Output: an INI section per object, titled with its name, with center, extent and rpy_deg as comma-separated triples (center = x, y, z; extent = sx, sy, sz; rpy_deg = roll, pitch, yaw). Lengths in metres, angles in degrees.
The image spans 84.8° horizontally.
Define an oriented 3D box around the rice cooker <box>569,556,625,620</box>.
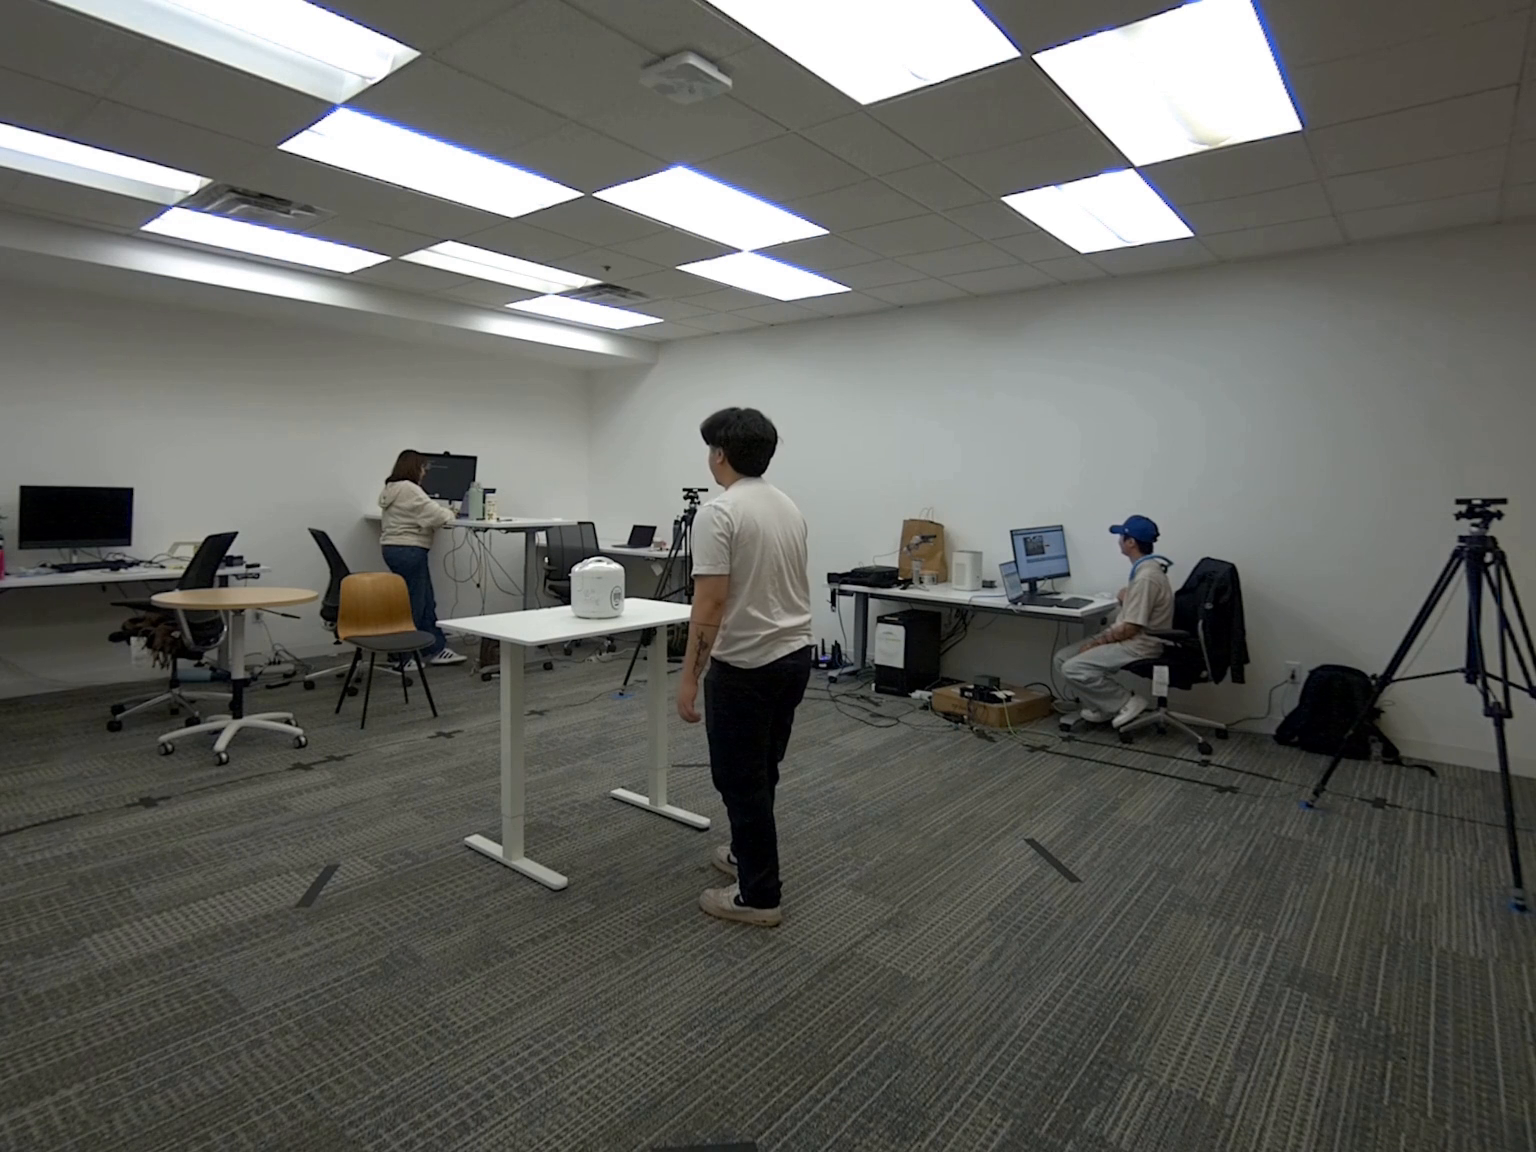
[rice cooker]
center = -0.679, 0.040, 3.349
extent = 0.224, 0.232, 0.214
rpy_deg = 3, 5, 38
